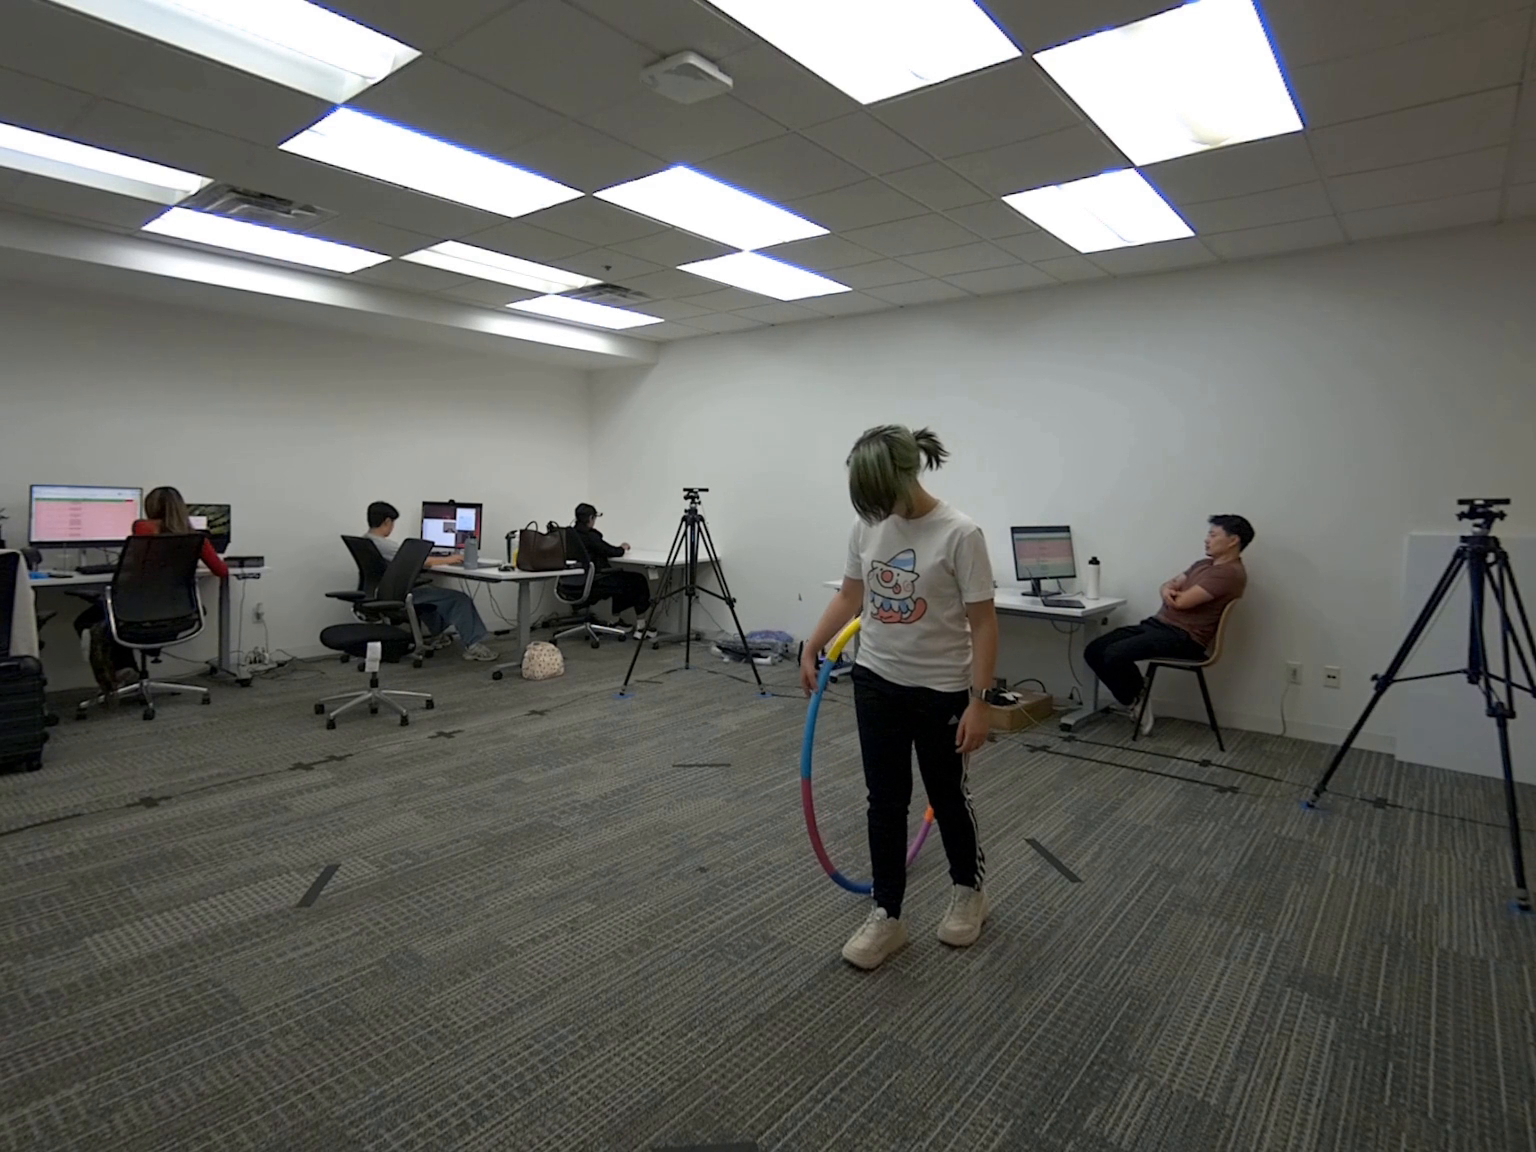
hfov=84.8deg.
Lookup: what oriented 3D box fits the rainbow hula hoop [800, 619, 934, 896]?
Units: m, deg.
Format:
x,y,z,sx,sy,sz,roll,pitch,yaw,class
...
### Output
x,y,z,sx,sy,sz,roll,pitch,yaw,class
0.389,0.606,3.019,0.036,0.979,0.950,-4,0,39,rainbow hula hoop
